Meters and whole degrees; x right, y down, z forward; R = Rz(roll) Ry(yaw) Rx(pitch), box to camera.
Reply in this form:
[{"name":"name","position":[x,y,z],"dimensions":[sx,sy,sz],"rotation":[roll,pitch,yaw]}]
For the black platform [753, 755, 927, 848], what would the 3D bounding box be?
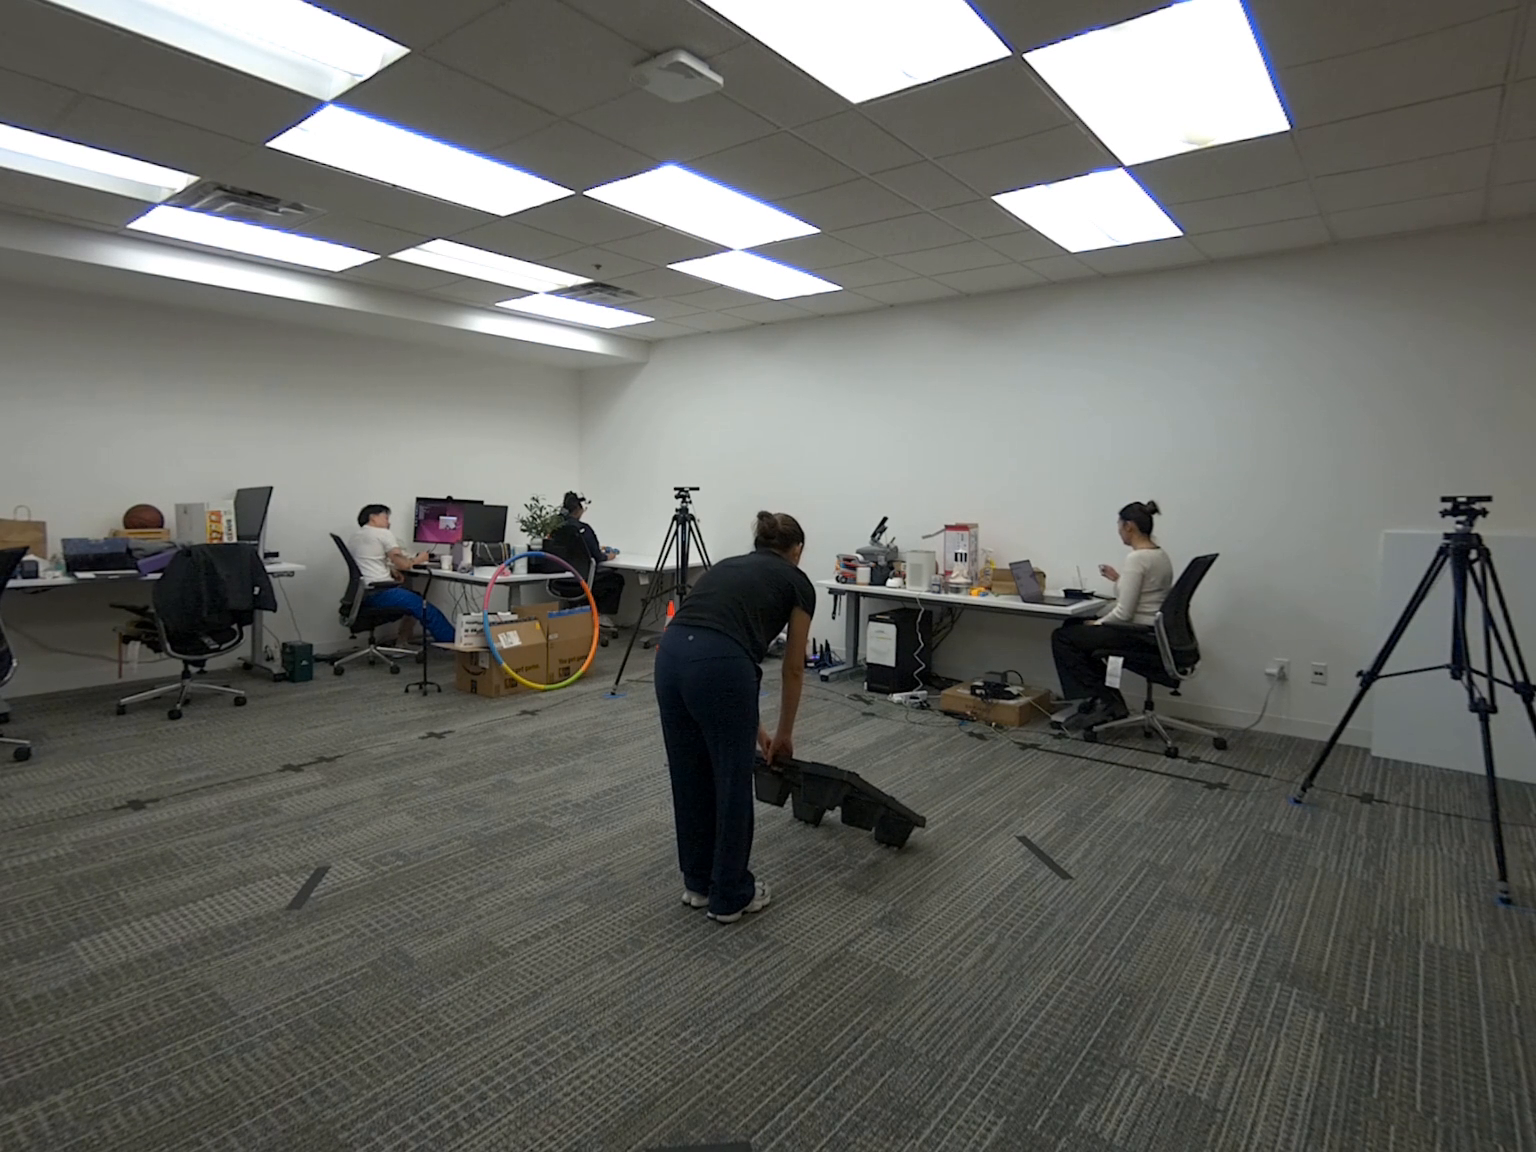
[{"name":"black platform","position":[0.189,0.827,3.219],"dimensions":[0.624,0.145,0.772],"rotation":[5,-24,34]}]
